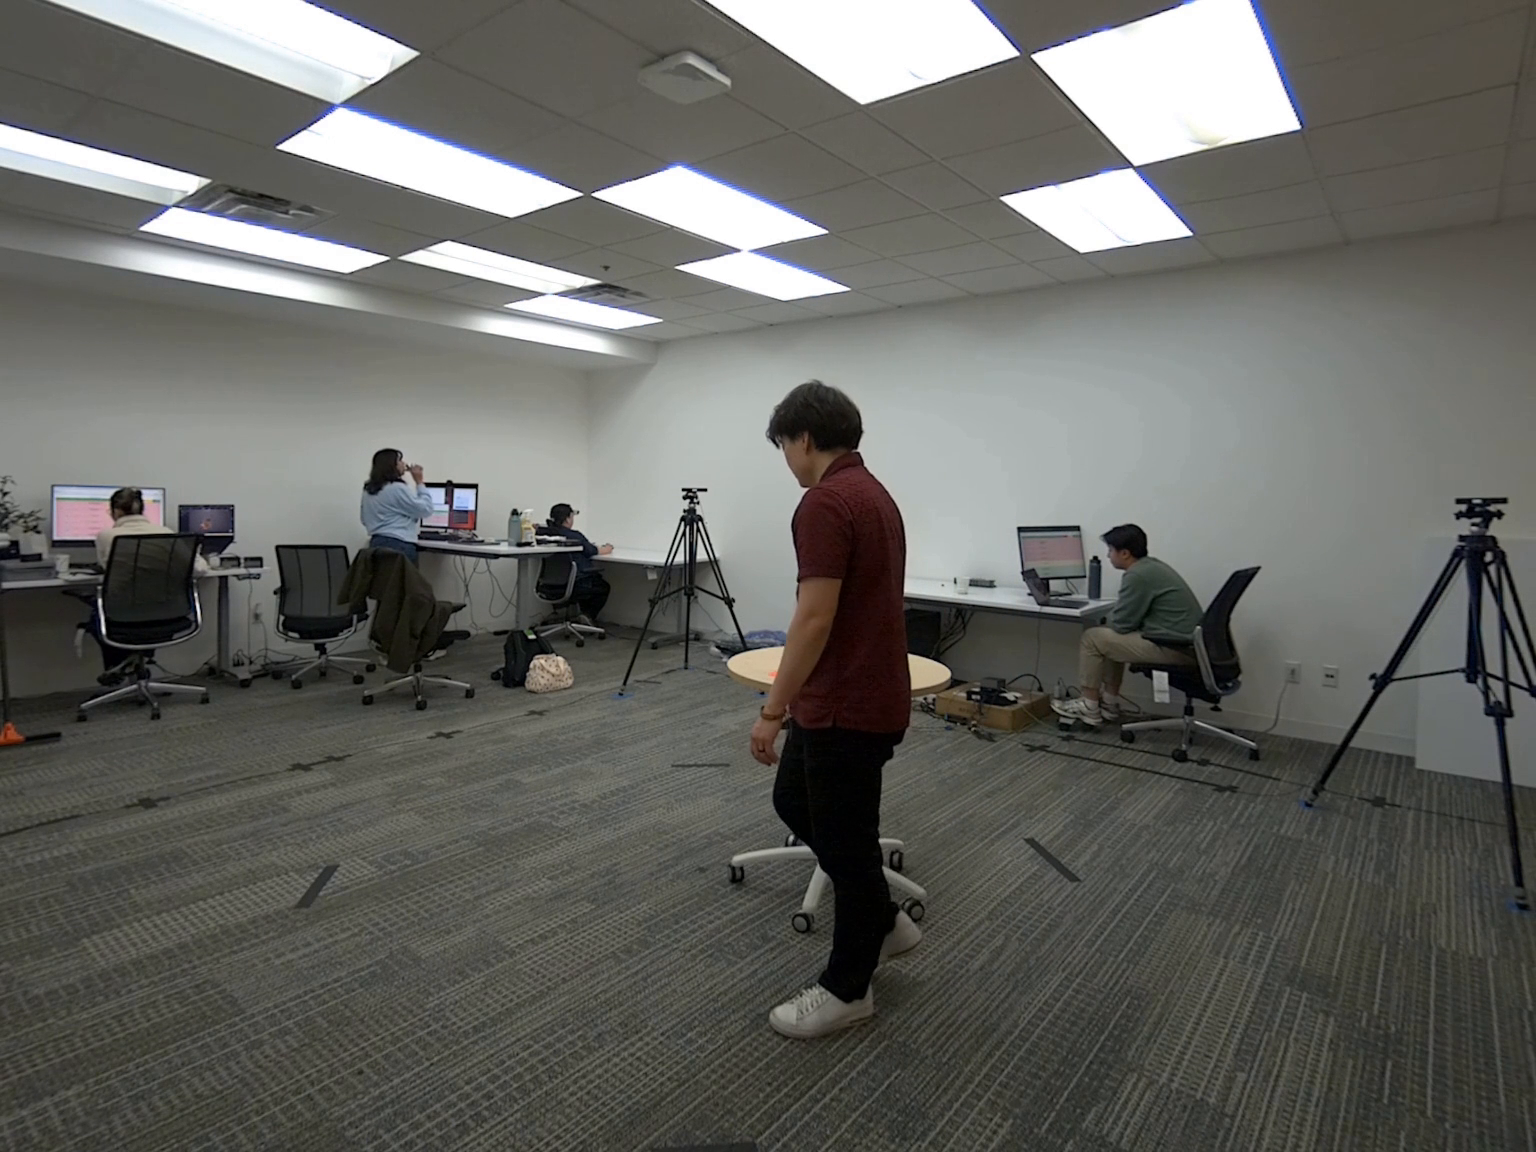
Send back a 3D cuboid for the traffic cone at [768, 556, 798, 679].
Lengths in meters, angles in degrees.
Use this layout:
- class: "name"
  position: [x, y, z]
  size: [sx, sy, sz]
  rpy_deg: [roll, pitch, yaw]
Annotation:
- class: "traffic cone"
  position: [0.130, 0.136, 2.816]
  size: [0.209, 0.382, 0.200]
  rpy_deg: [2, 5, 20]
